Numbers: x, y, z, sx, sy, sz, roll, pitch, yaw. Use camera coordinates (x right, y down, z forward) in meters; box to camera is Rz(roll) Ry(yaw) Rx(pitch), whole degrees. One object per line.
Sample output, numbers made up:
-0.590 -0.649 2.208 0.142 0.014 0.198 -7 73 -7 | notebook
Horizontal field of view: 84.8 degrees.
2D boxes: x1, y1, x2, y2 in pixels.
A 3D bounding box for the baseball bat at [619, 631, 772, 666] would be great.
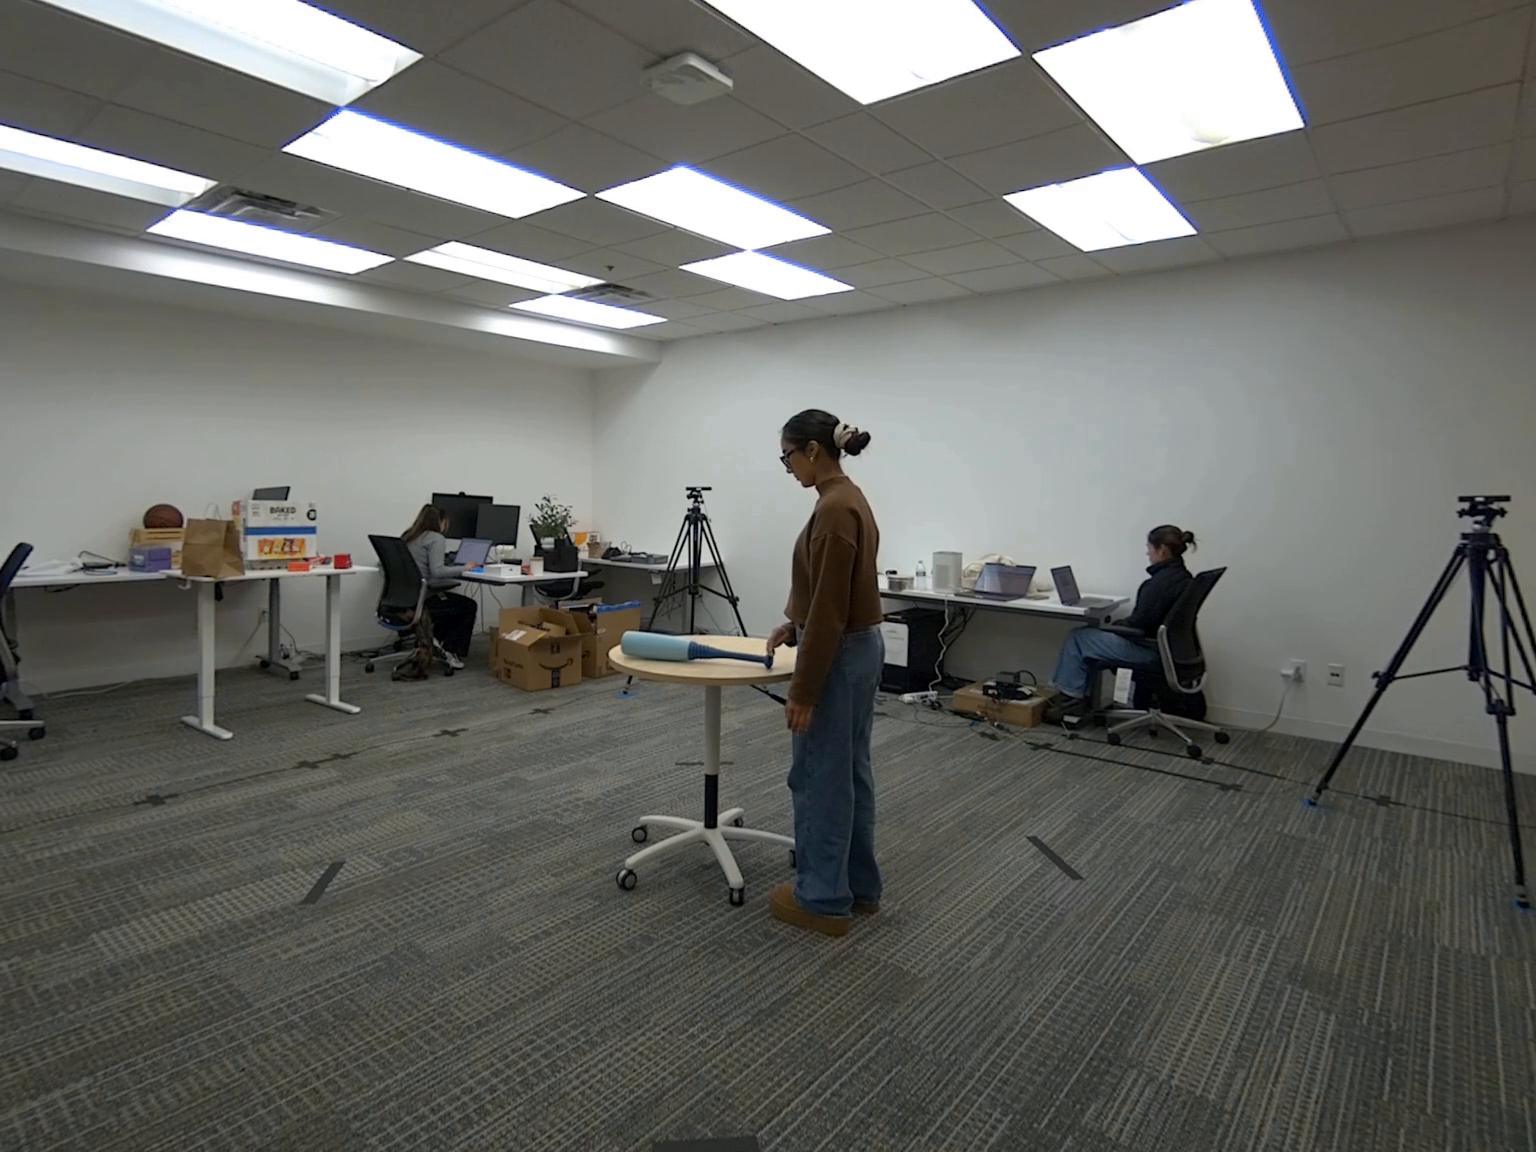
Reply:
-0.257 0.267 2.950 0.552 0.089 0.088 6 5 14 | baseball bat
